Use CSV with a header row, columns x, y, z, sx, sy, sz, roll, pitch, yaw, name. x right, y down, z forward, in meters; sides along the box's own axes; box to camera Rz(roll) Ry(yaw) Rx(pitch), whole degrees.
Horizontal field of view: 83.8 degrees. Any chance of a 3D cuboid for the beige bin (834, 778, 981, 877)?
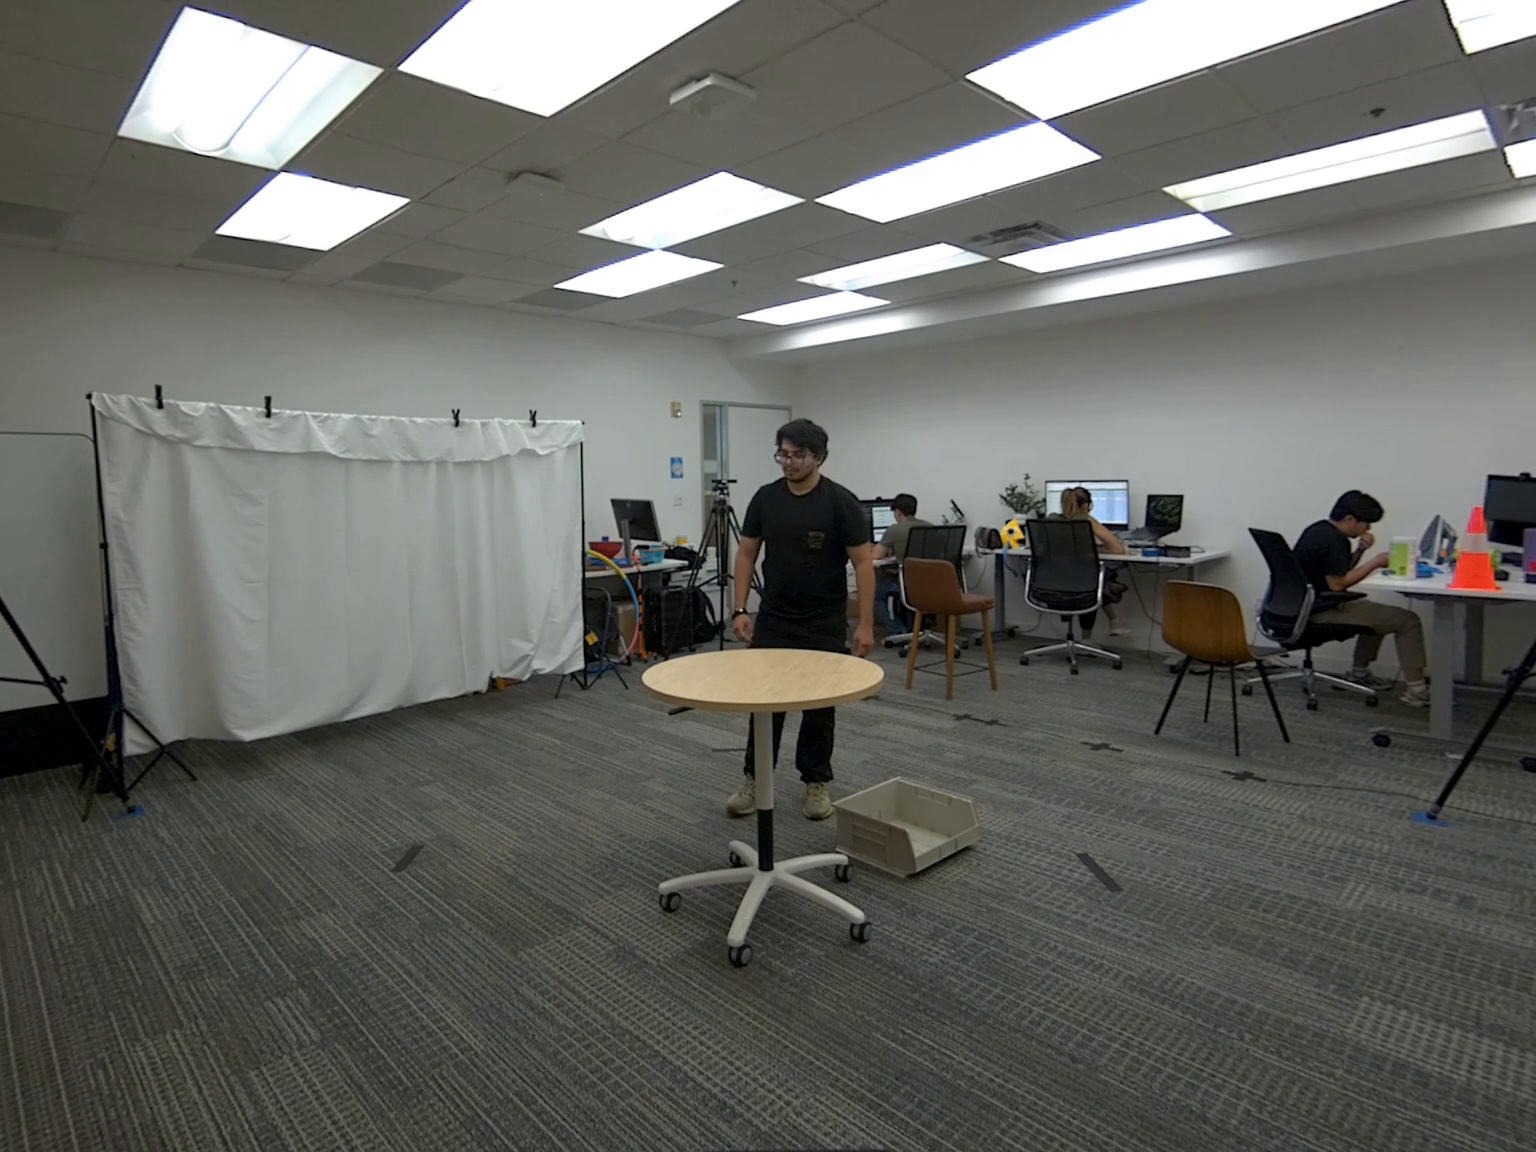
x,y,z,sx,sy,sz,roll,pitch,yaw,name
0.519,0.934,3.201,0.411,0.188,0.389,-7,7,-43,beige bin
